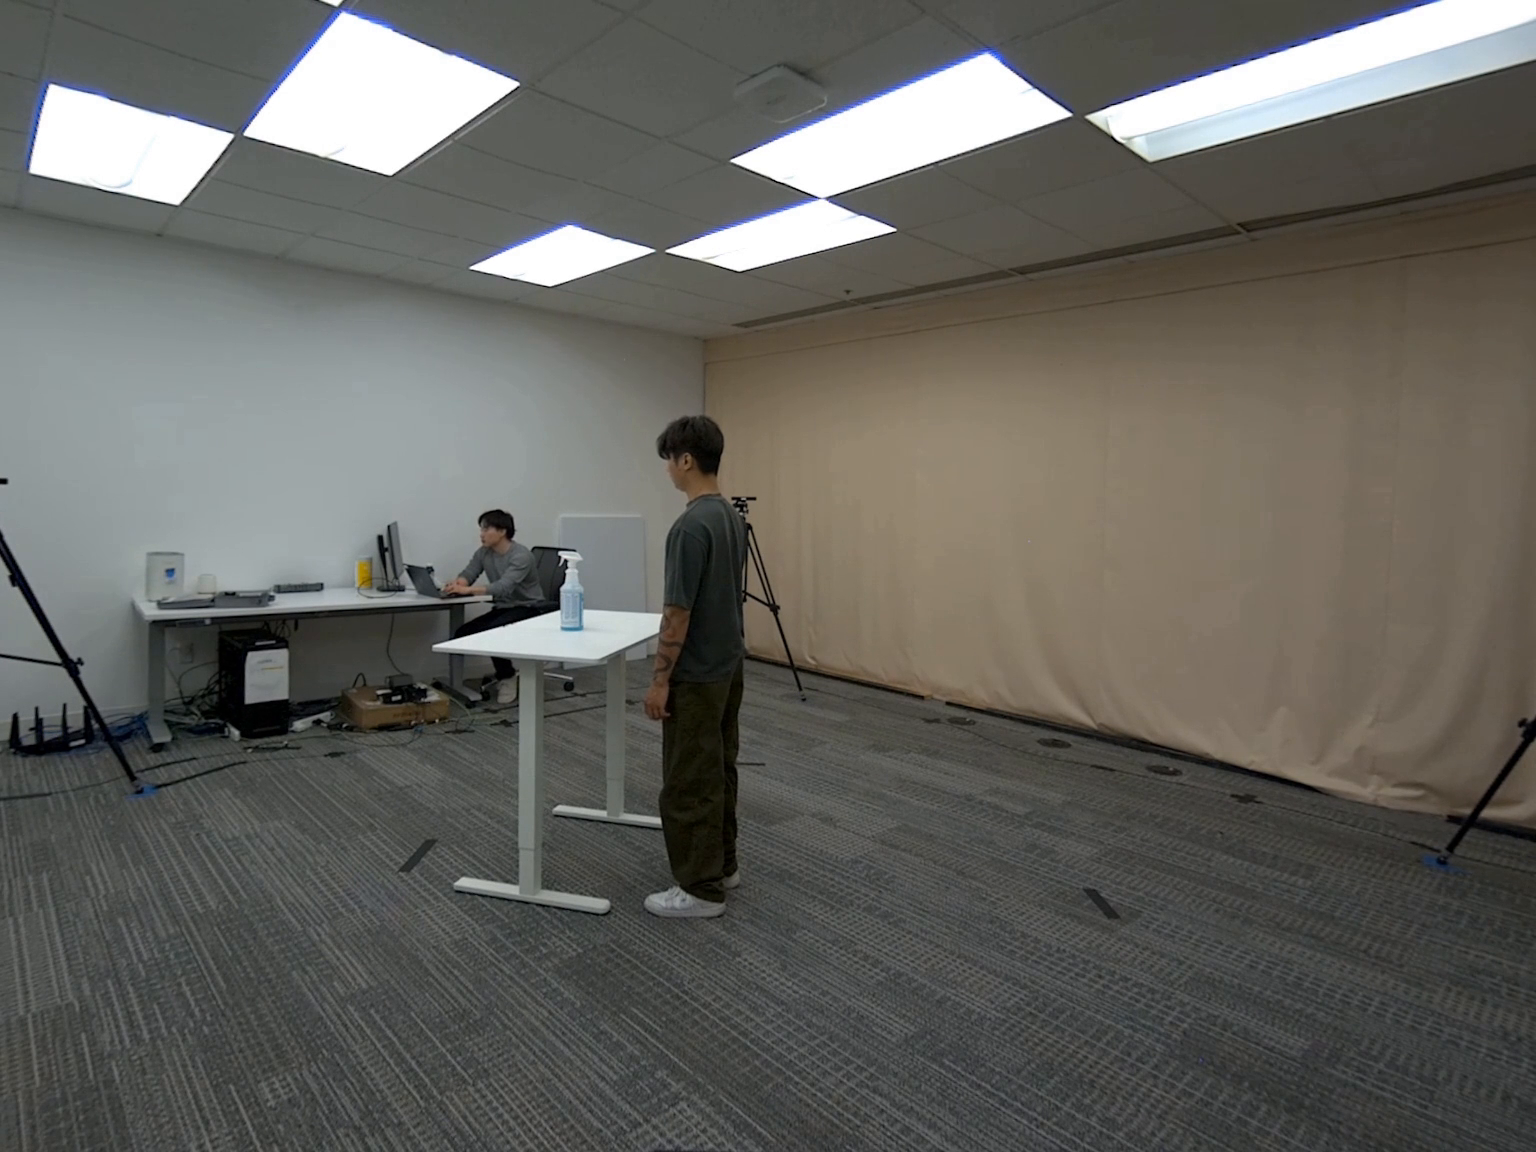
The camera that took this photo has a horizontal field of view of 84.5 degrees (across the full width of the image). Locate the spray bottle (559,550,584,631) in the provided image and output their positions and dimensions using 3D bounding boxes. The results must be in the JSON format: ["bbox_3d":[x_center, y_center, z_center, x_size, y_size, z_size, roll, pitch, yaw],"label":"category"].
[{"bbox_3d":[-0.744,0.057,3.182,0.092,0.296,0.085,2,4,27],"label":"spray bottle"}]
